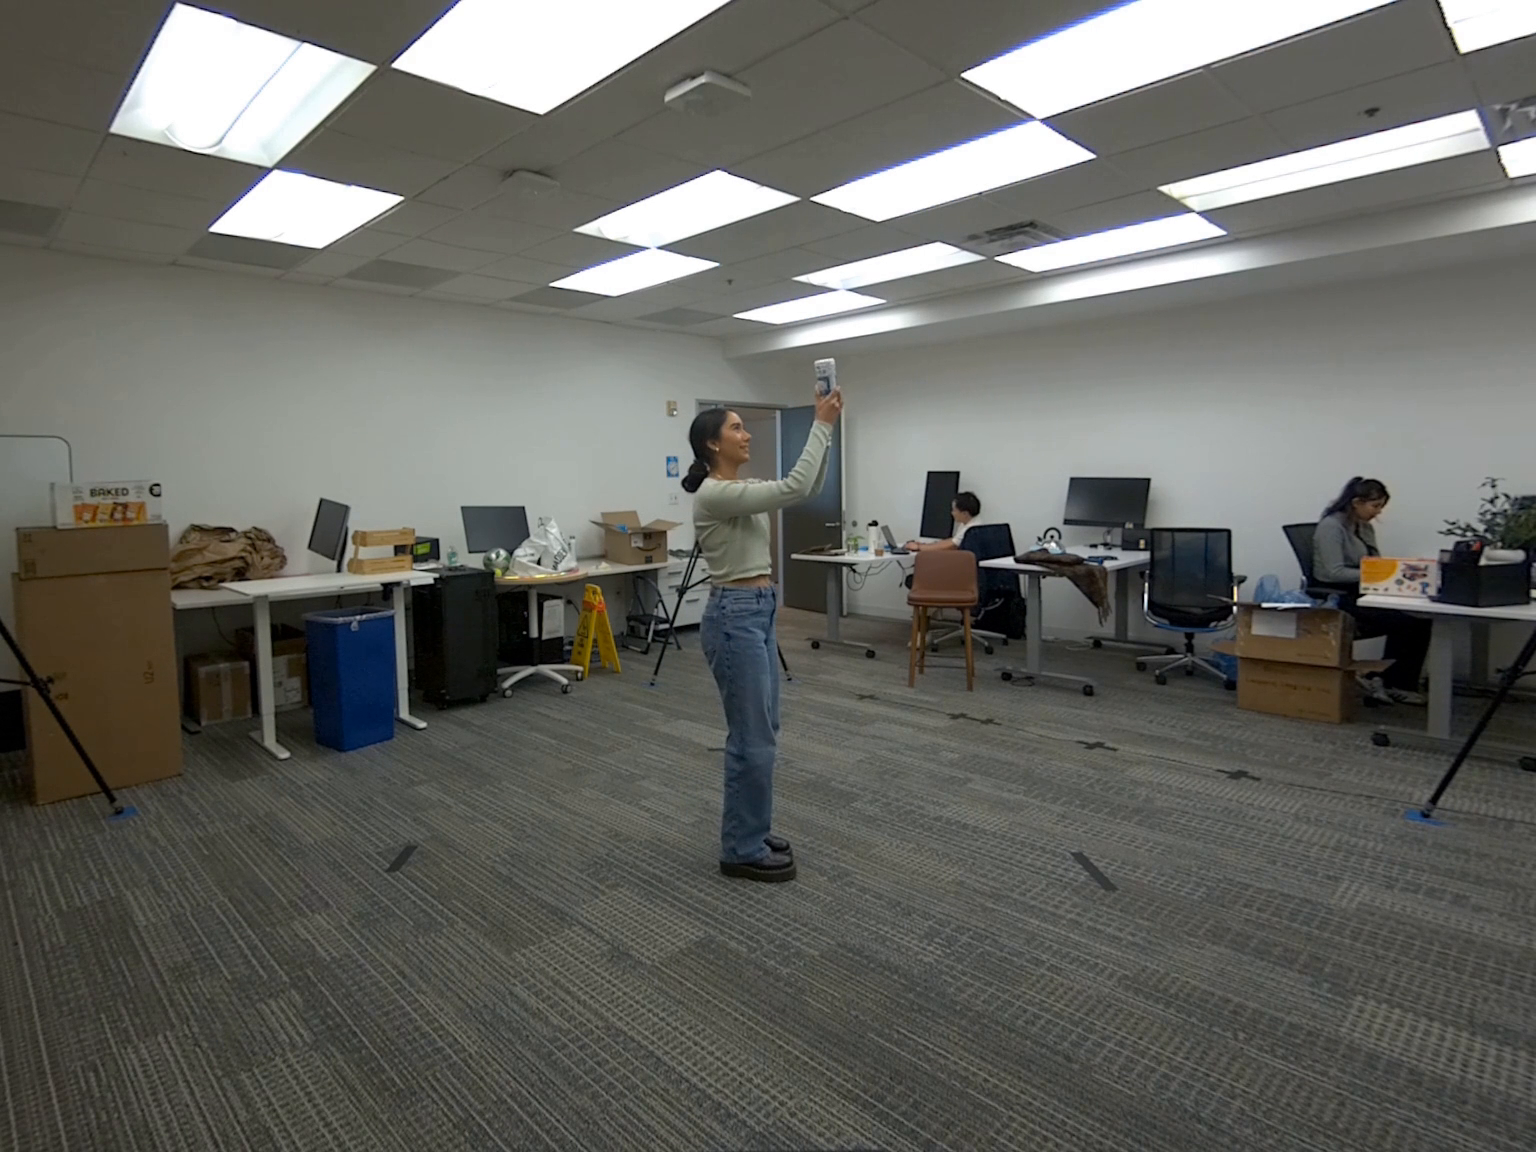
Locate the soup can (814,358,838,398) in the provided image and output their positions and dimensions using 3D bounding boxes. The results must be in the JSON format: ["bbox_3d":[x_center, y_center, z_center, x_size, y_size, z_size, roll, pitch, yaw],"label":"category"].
[{"bbox_3d":[0.194,-0.672,2.904,0.067,0.120,0.068,-6,12,0],"label":"soup can"}]
